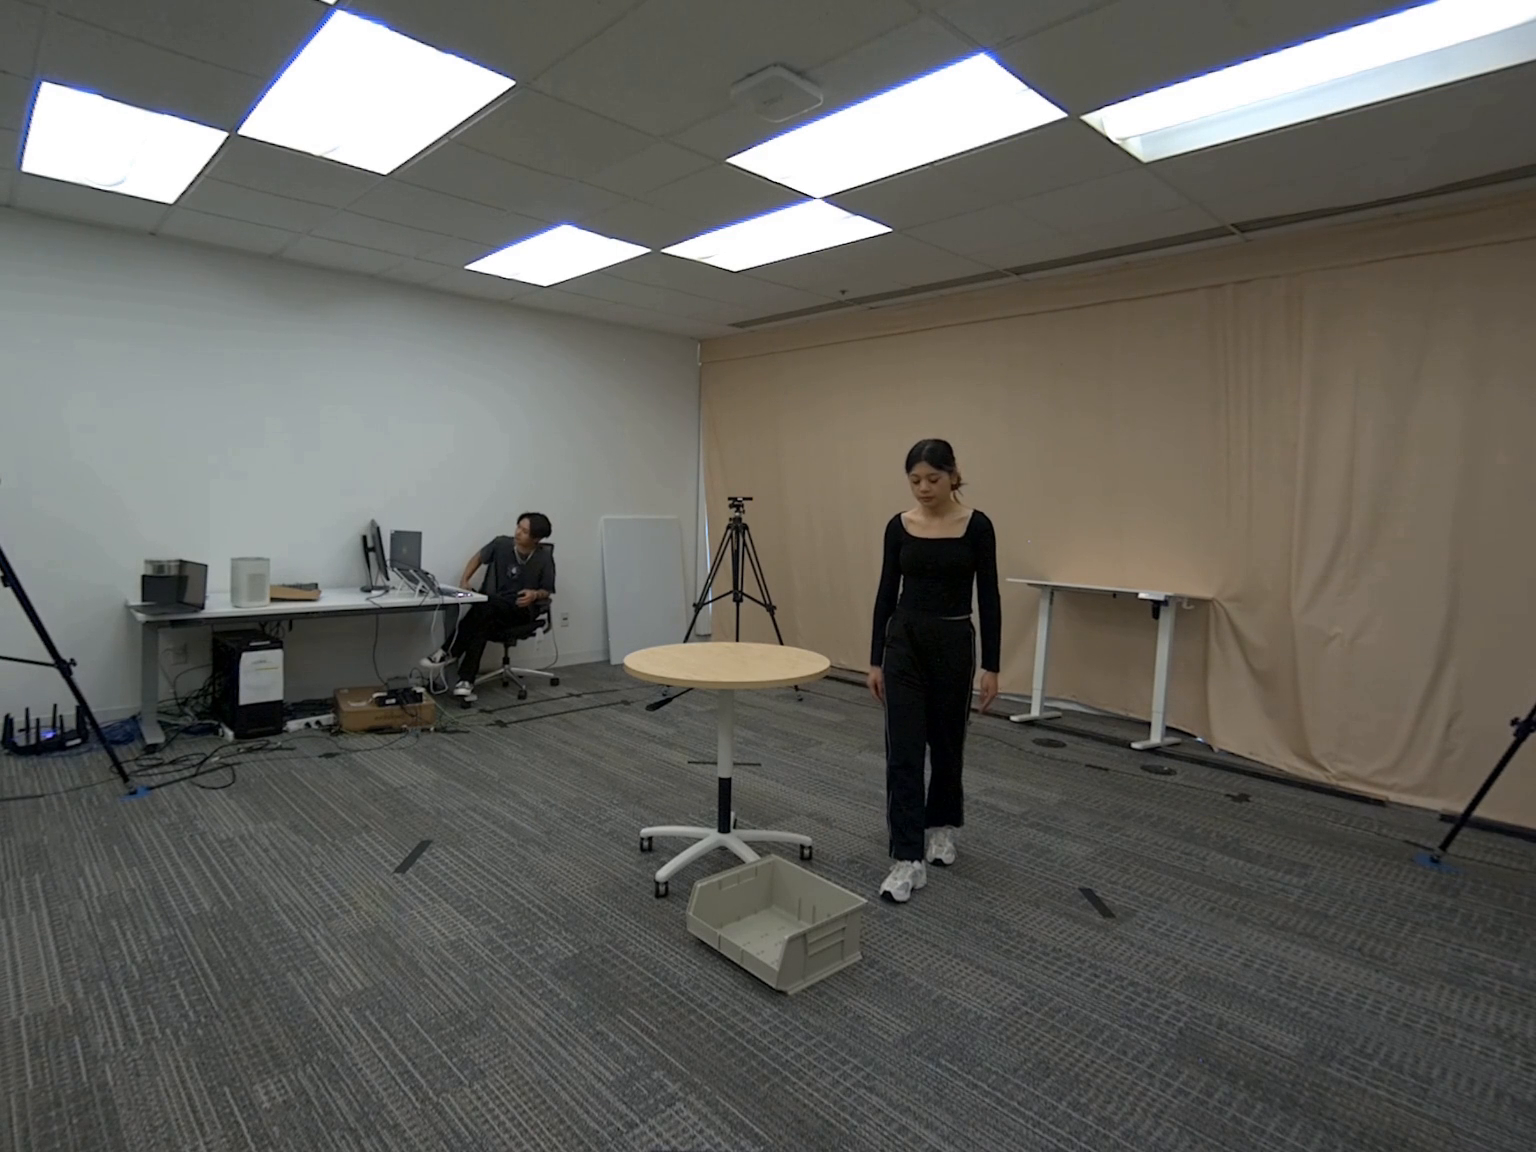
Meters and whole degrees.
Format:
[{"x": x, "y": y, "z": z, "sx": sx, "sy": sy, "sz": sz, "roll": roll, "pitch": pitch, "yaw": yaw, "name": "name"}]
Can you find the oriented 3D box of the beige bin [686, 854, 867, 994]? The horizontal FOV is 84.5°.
[{"x": 0.017, "y": 1.072, "z": 2.599, "sx": 0.369, "sy": 0.188, "sz": 0.433, "roll": -2, "pitch": 6, "yaw": -42, "name": "beige bin"}]
